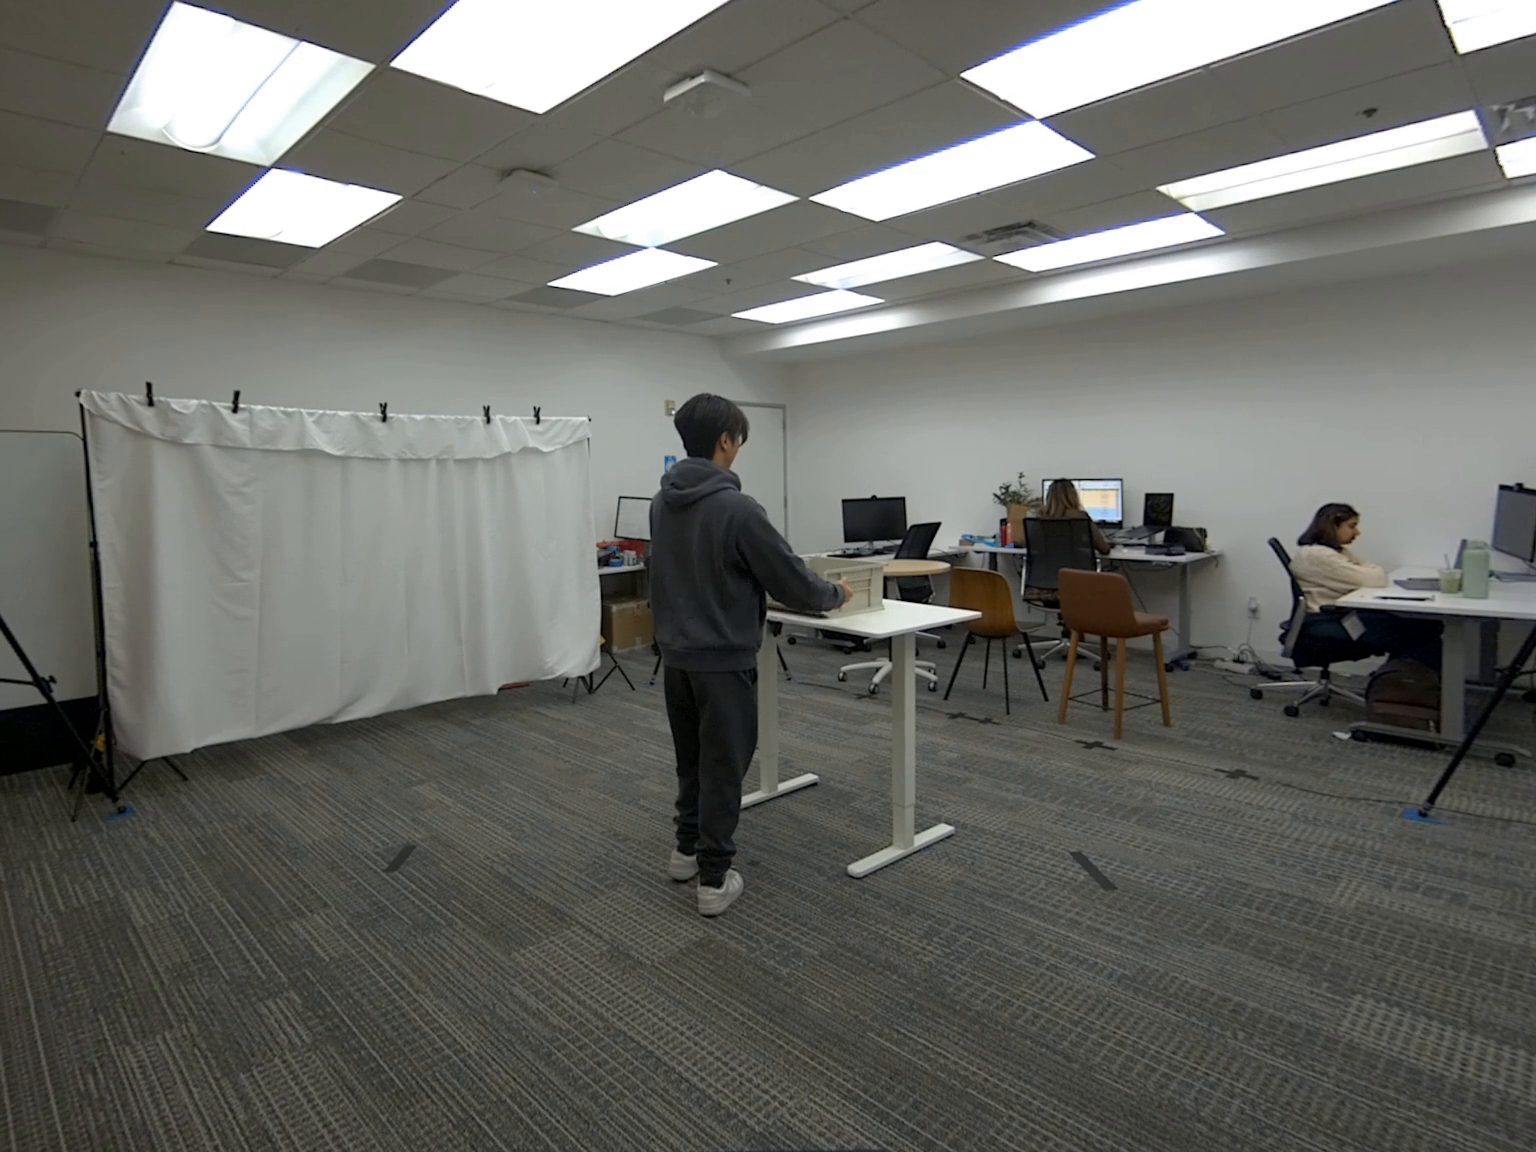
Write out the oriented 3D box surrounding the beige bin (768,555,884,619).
[{"bbox_3d":[0.191,0.042,3.346,0.367,0.188,0.435,-5,7,-40],"label":"beige bin"}]
